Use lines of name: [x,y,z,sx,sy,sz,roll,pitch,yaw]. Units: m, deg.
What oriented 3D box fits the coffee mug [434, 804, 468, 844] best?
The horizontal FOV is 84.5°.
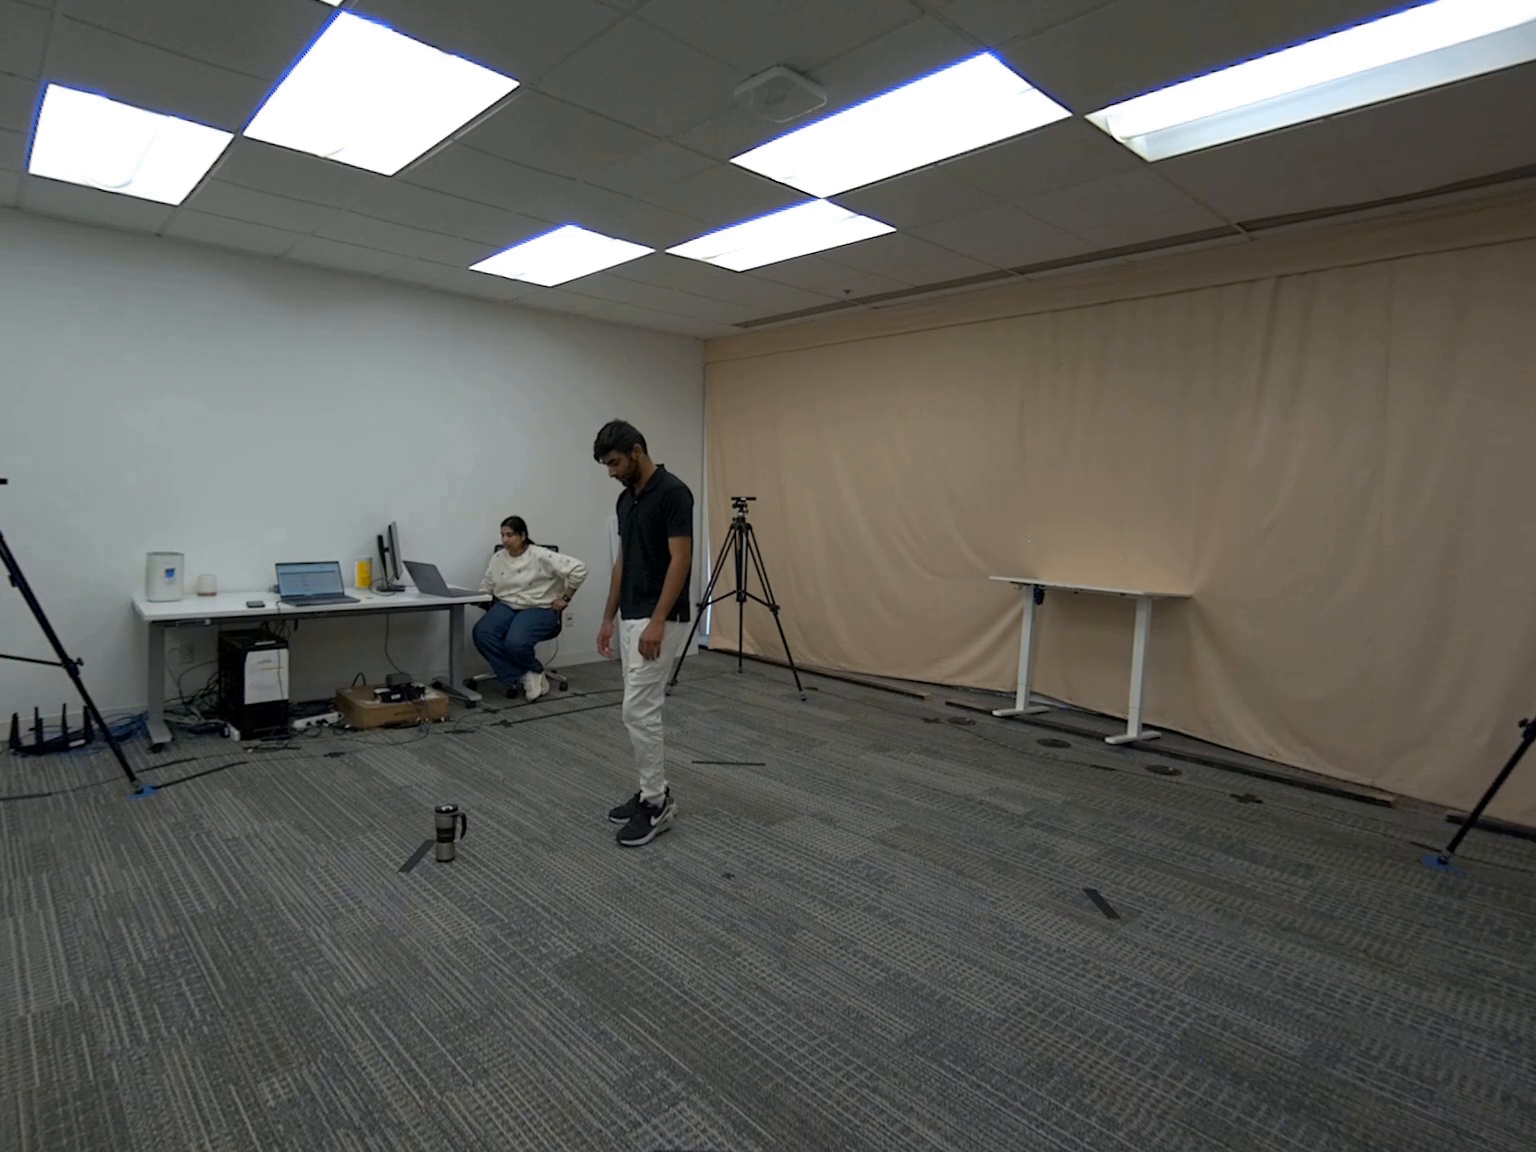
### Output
coffee mug: [-1.216,0.981,3.173,0.125,0.203,0.086,-2,-4,44]
